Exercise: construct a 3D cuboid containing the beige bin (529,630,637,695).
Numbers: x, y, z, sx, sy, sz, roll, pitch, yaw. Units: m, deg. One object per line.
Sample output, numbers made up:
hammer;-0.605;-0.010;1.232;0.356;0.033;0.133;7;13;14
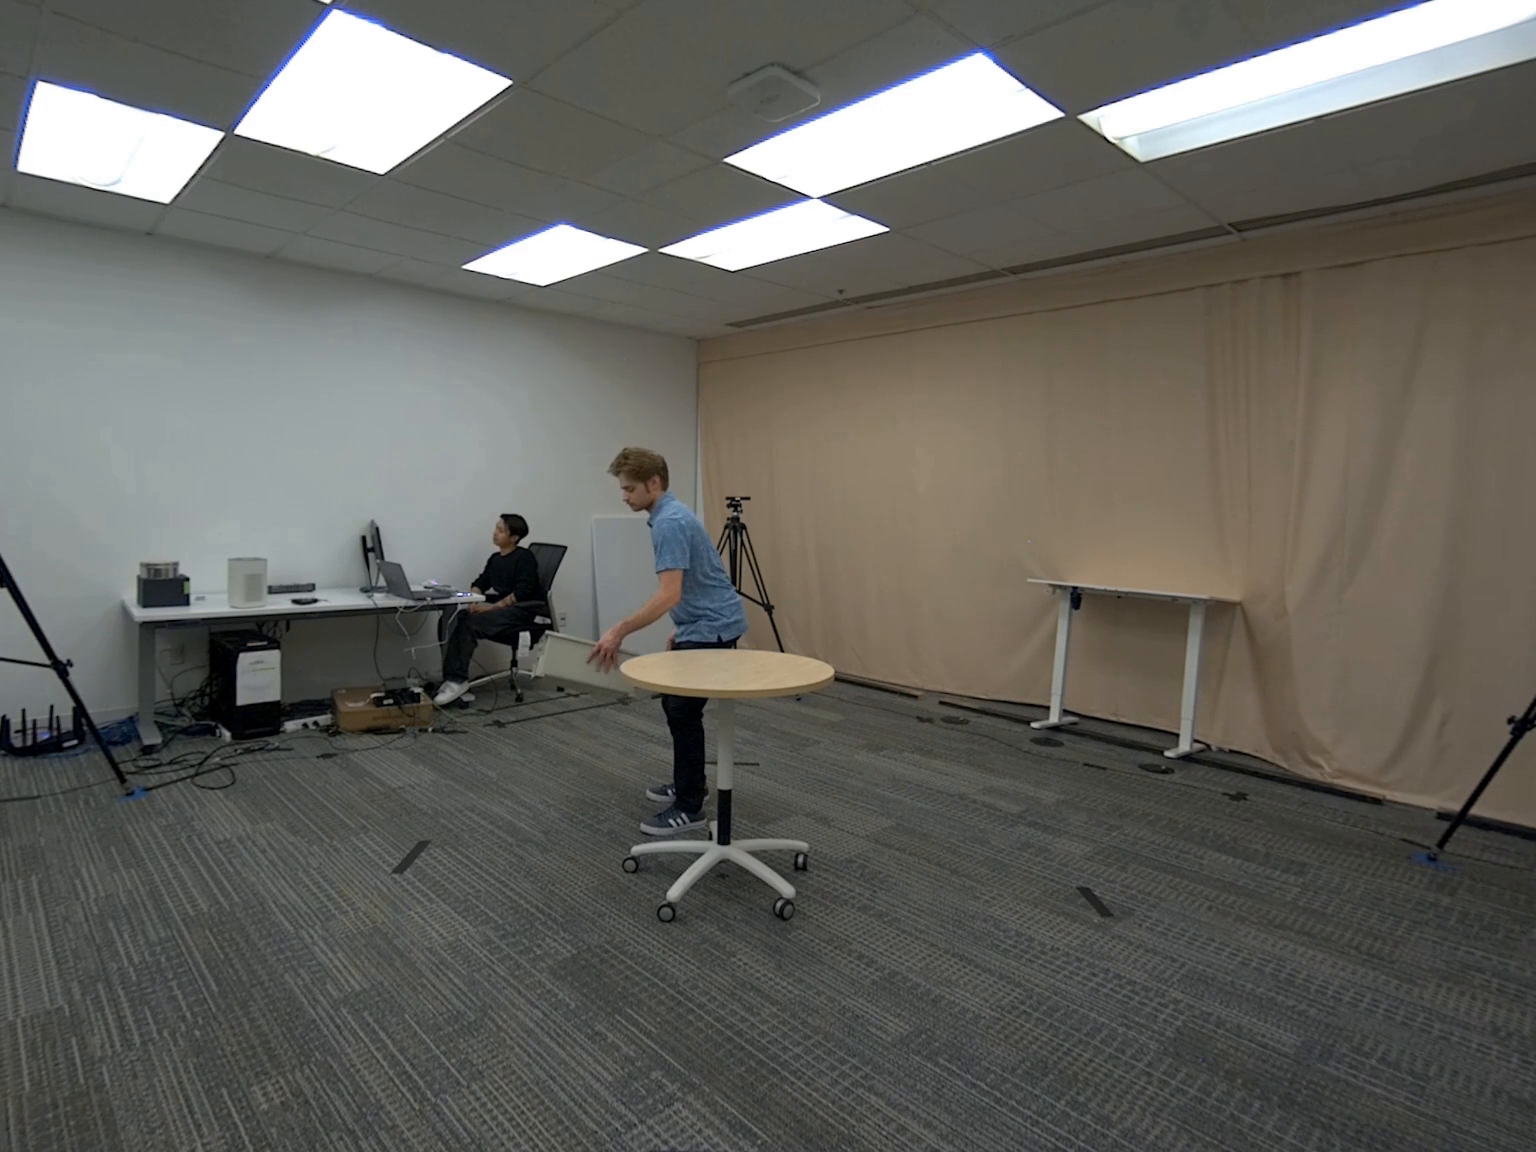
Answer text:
beige bin;-0.773;0.387;3.536;0.416;0.190;0.380;16;-13;-15
